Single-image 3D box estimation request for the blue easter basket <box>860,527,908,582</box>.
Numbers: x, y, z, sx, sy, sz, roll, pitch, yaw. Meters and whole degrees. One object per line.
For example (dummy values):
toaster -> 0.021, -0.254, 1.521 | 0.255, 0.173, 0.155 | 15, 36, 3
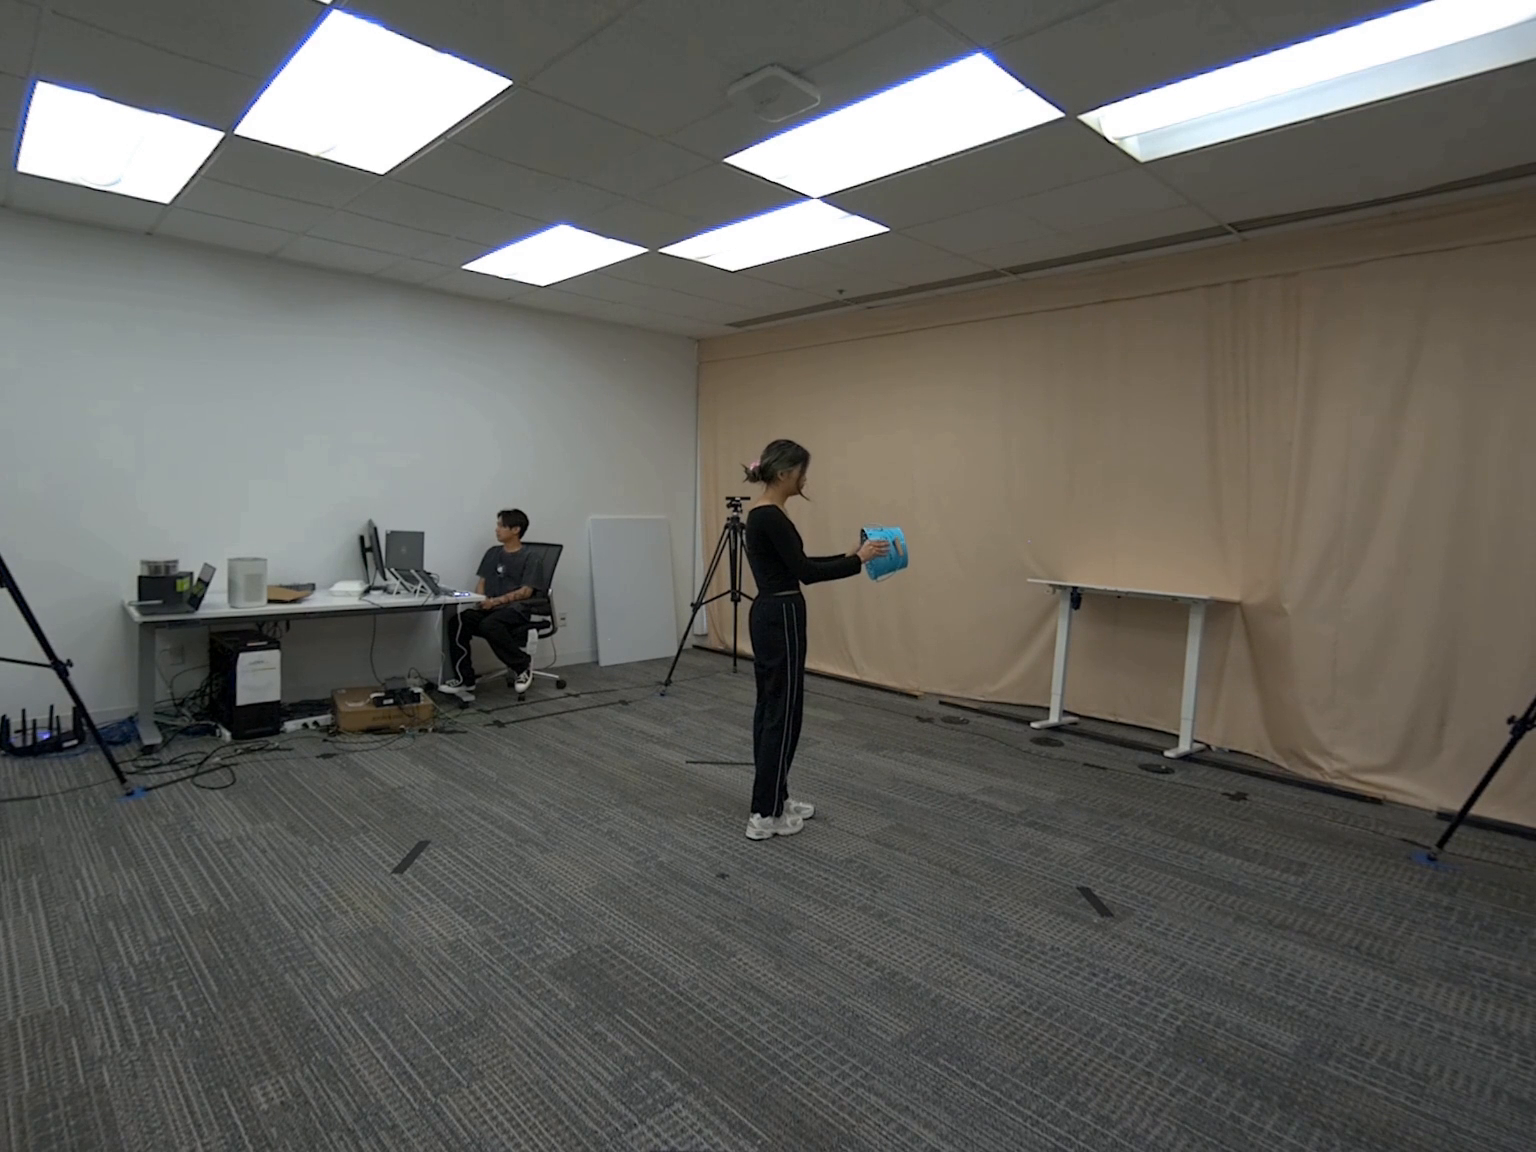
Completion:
blue easter basket -> 0.492, -0.117, 3.624 | 0.155, 0.243, 0.245 | -9, 5, -4
